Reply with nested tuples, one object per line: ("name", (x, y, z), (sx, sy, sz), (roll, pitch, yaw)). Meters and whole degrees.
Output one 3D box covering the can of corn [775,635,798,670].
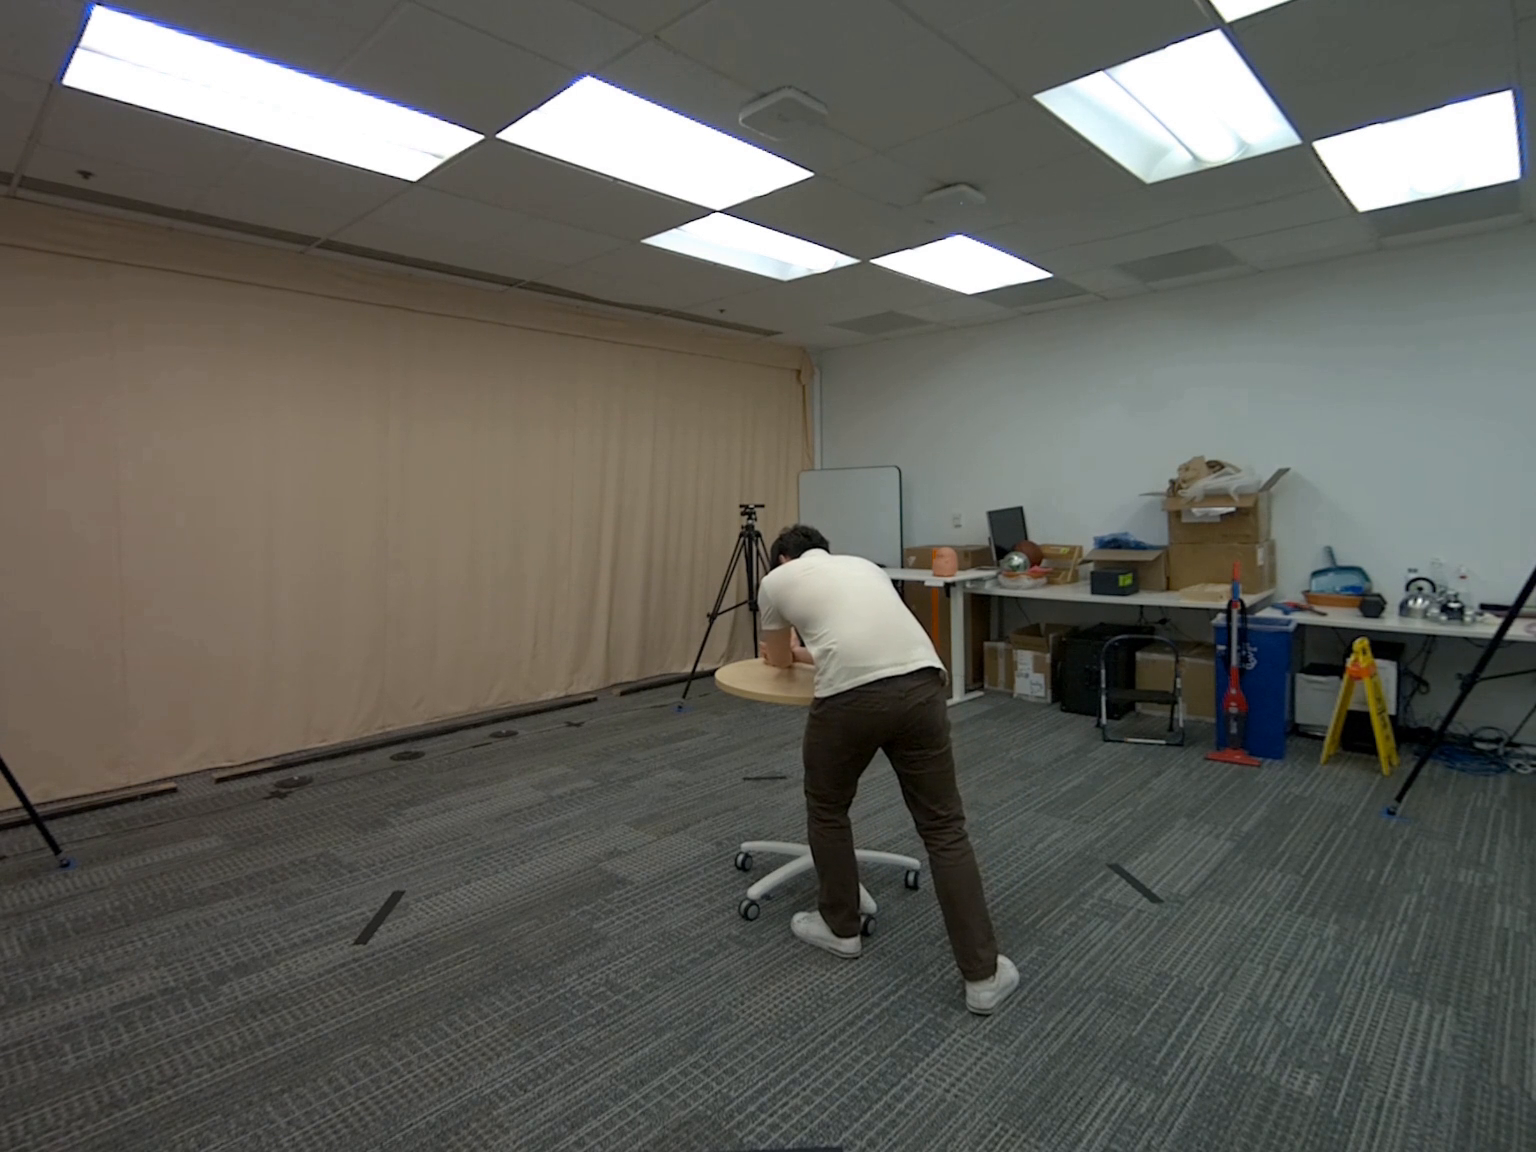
("can of corn", (0.065, 0.285, 3.182), (0.074, 0.110, 0.075), (1, 11, -2))
